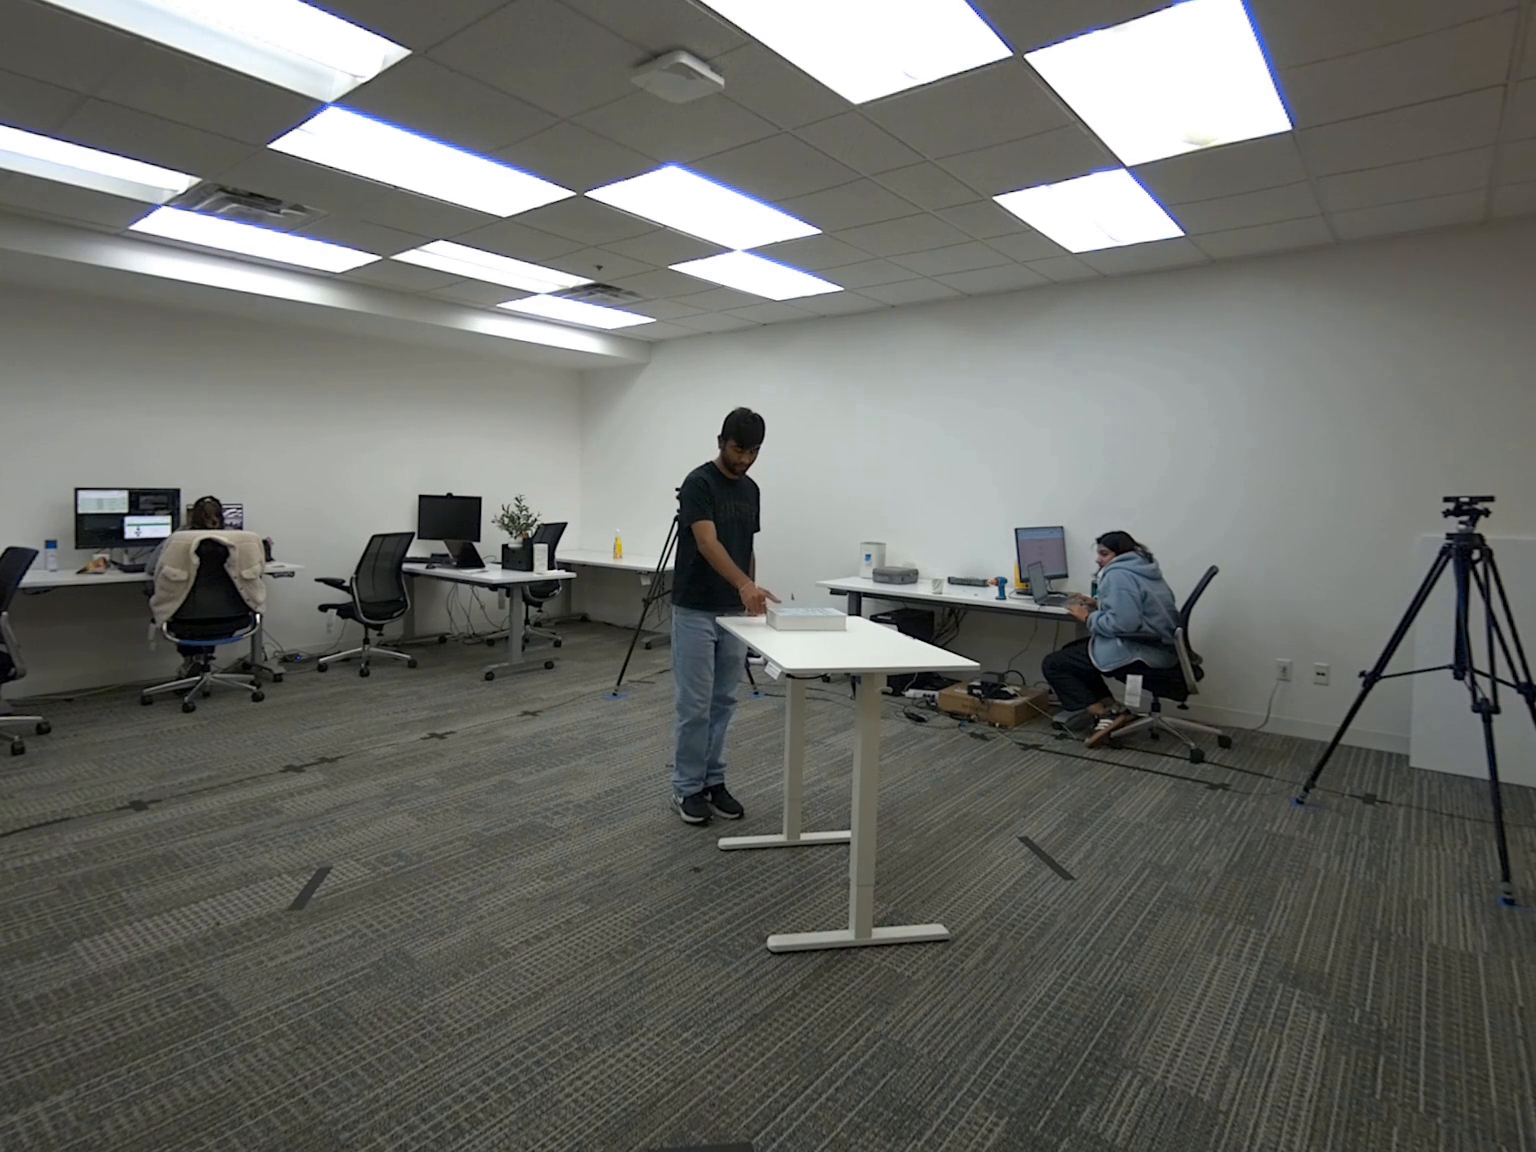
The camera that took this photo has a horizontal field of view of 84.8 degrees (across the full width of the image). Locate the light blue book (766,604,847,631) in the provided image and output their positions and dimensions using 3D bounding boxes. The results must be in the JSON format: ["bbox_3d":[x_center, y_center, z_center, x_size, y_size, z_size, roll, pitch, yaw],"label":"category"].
[{"bbox_3d":[0.145,0.160,3.174,0.258,0.059,0.195,-1,6,-12],"label":"light blue book"}]
